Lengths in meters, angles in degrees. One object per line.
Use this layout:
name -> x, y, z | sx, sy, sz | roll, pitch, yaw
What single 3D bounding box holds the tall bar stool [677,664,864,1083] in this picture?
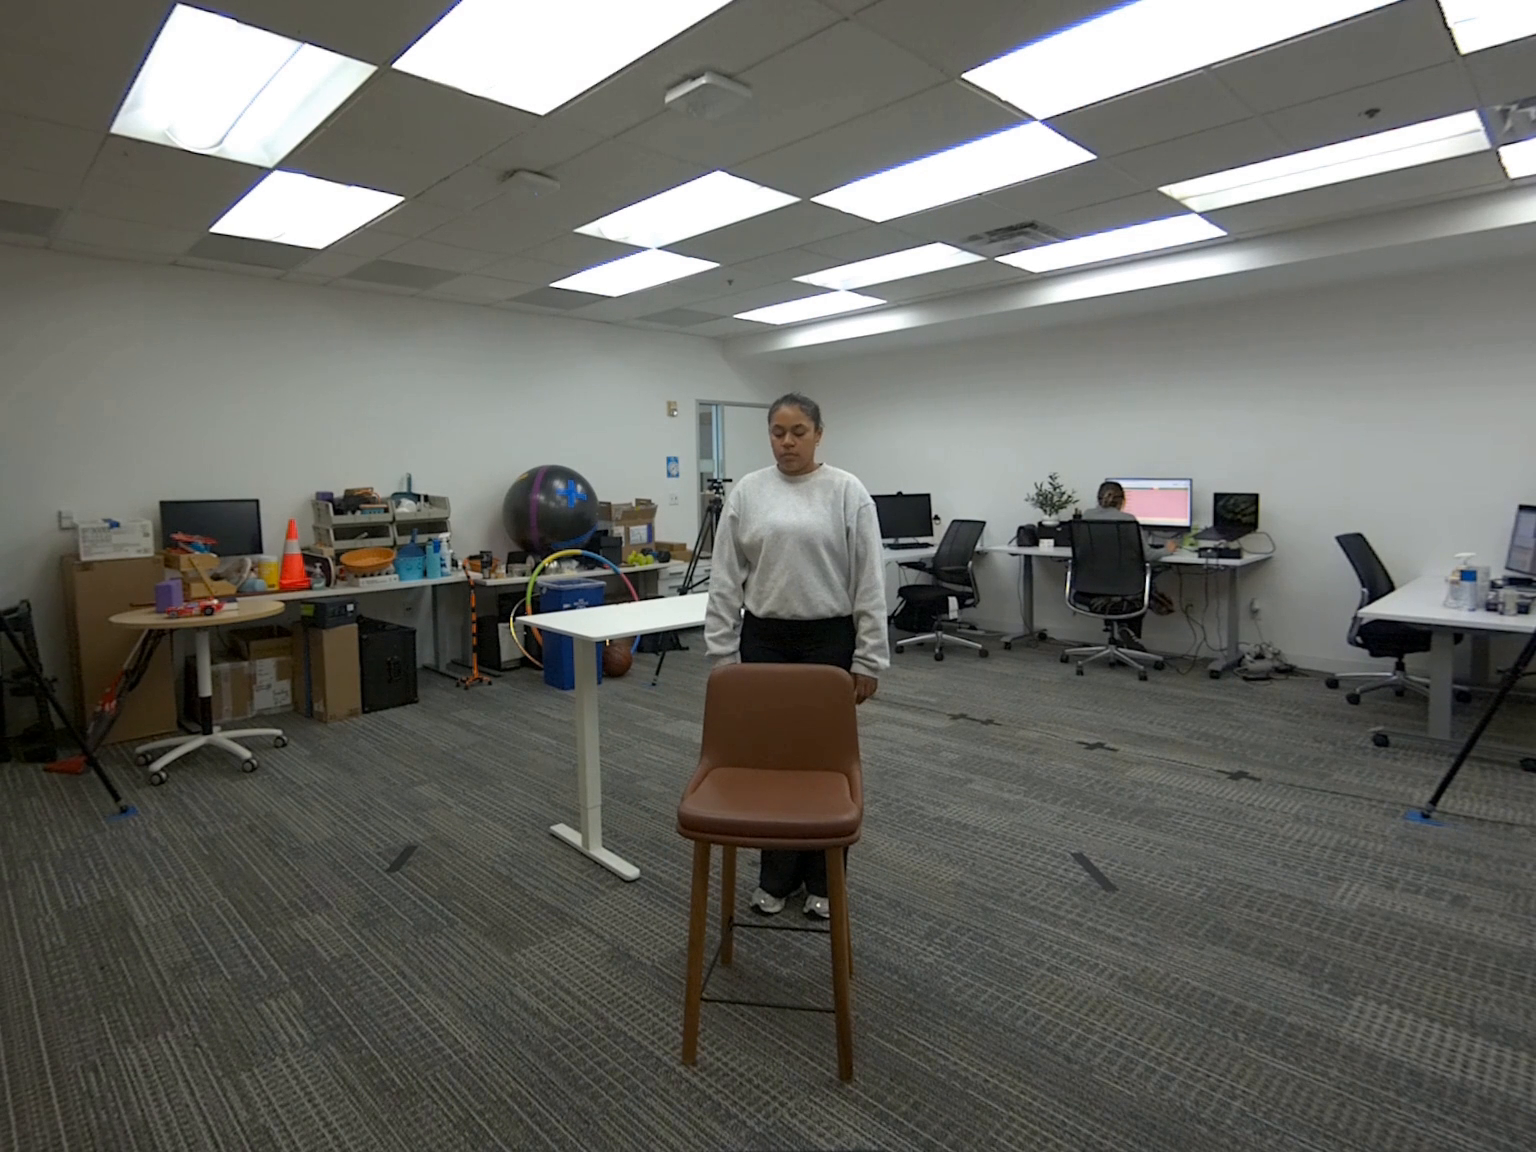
tall bar stool -> 0.021, 0.714, 2.207 | 0.461, 0.888, 0.464 | 0, 3, 9
